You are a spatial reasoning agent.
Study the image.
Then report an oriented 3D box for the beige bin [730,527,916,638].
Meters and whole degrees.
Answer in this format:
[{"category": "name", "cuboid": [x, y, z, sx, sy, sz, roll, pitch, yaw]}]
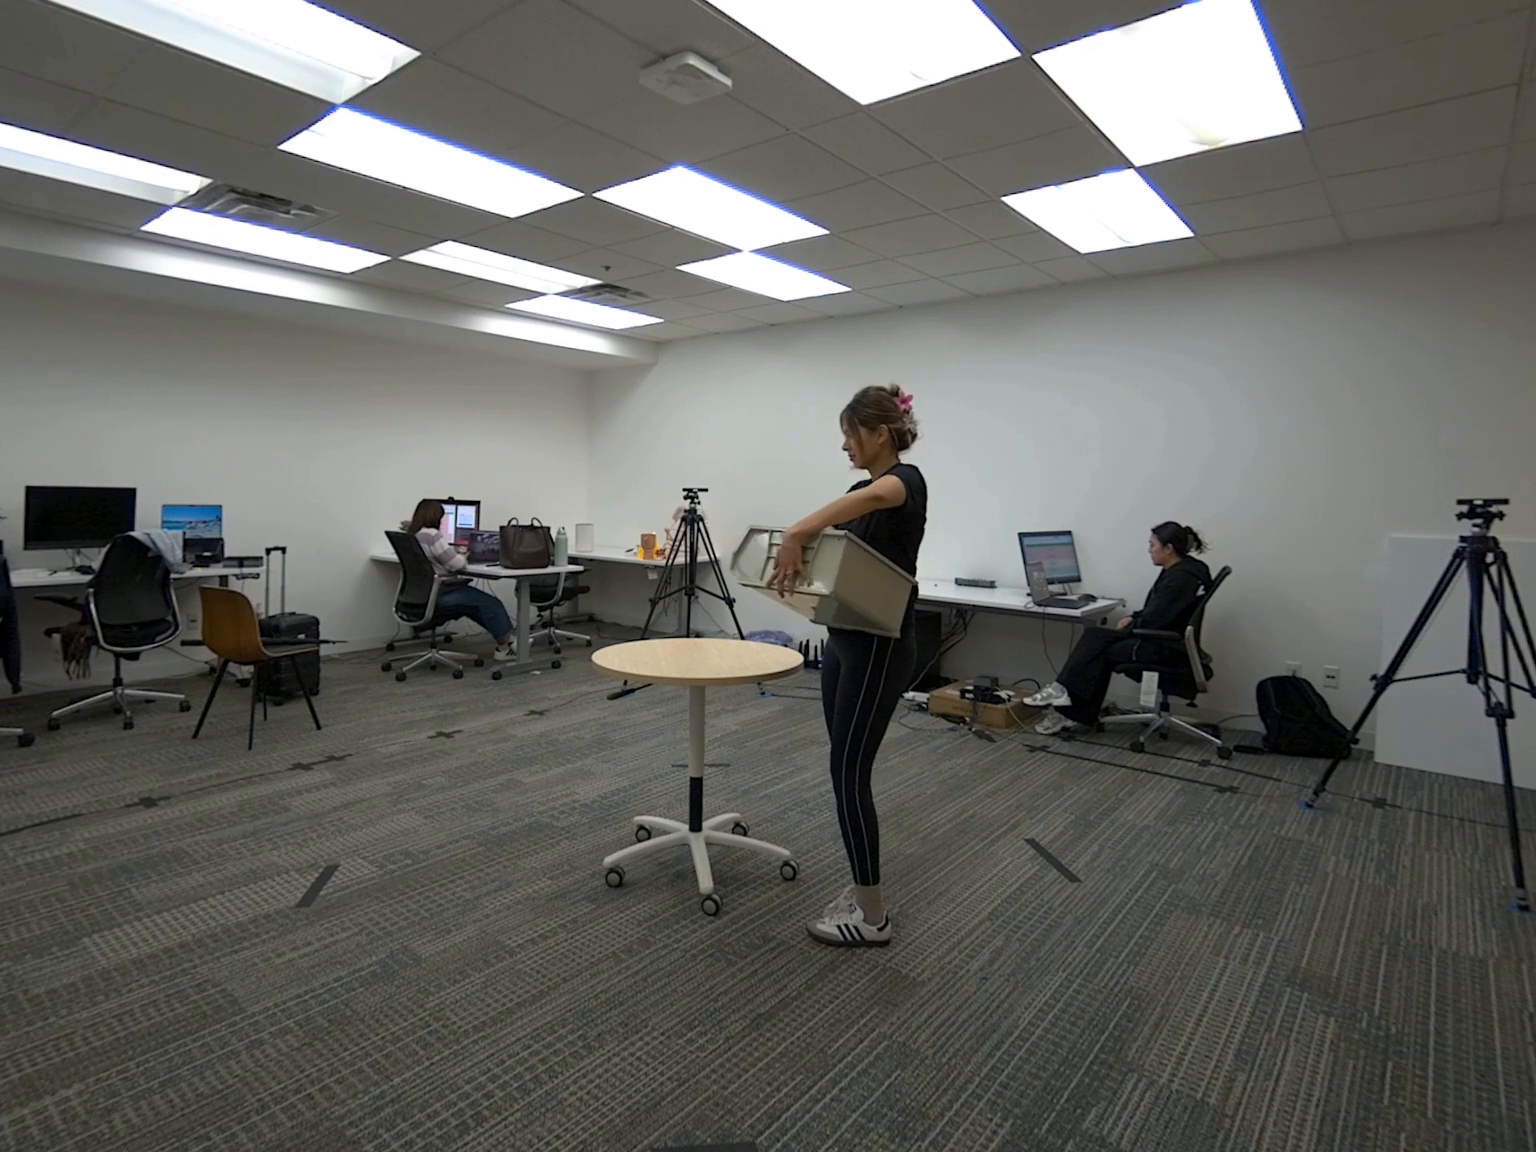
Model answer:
[{"category": "beige bin", "cuboid": [0.159, 0.019, 2.498, 0.390, 0.190, 0.405, 8, -14, 41]}]
